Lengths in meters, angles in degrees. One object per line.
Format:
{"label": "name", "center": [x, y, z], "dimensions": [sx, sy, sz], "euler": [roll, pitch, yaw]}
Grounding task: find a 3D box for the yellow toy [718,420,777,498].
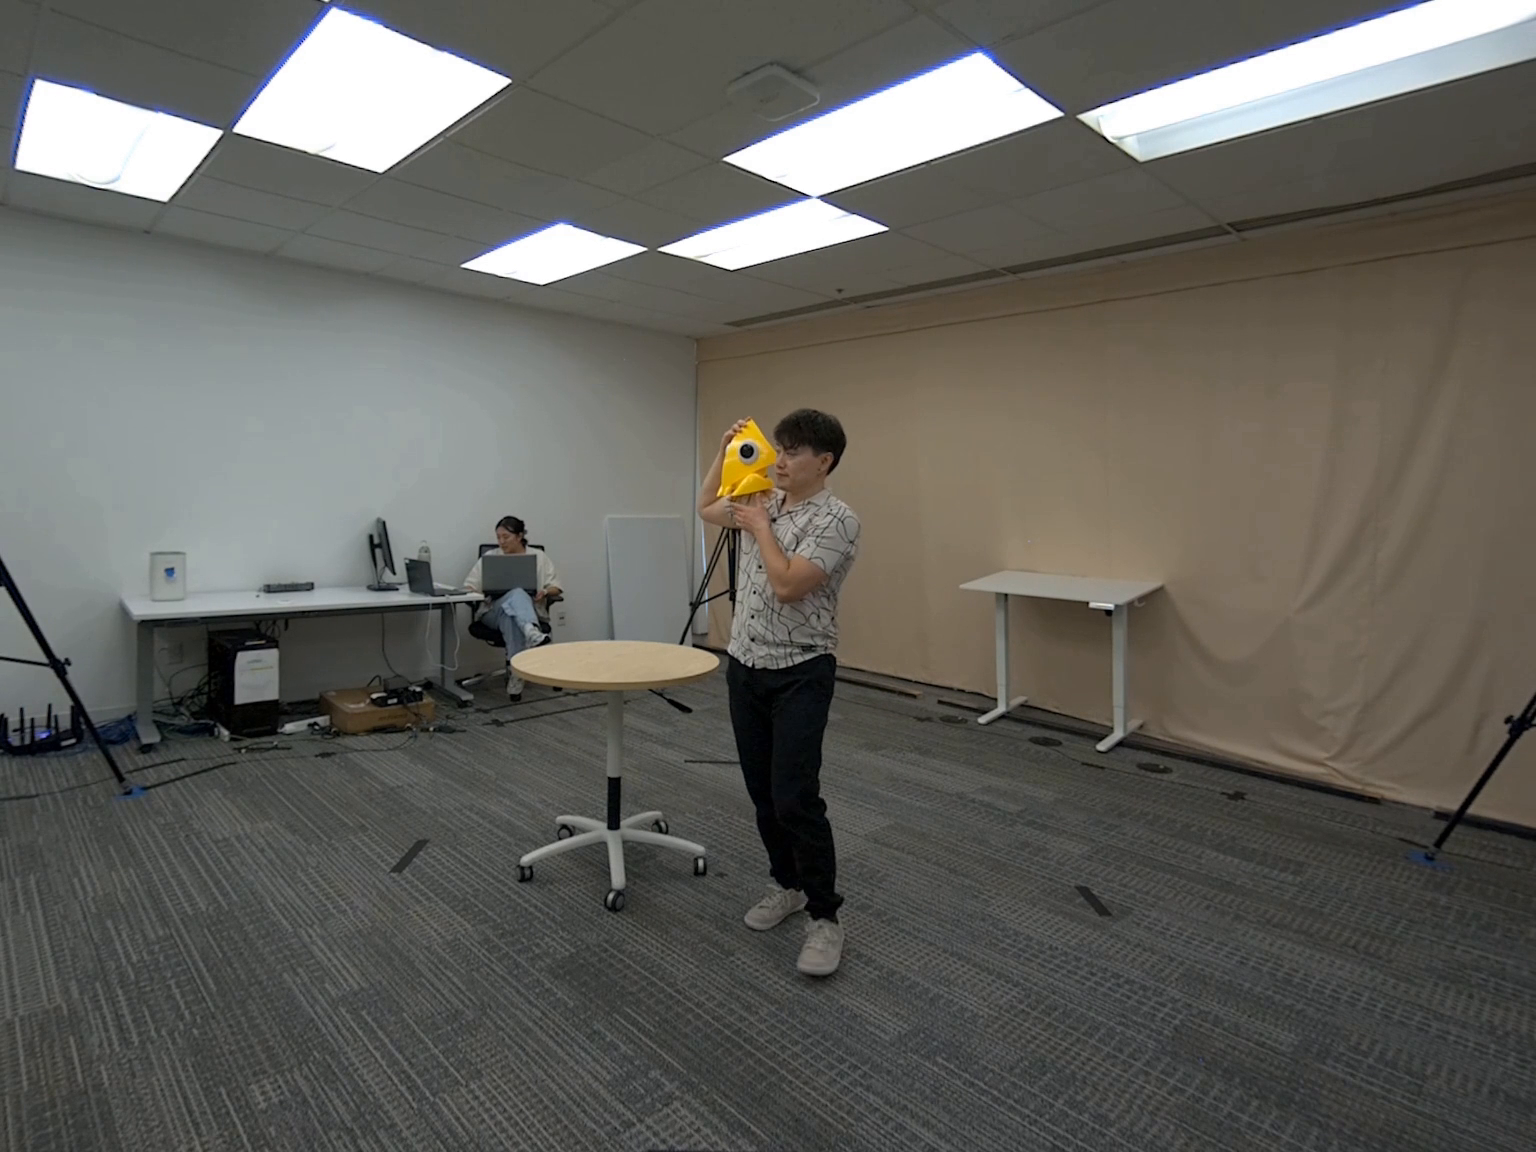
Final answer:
{"label": "yellow toy", "center": [-0.087, -0.393, 2.779], "dimensions": [0.190, 0.229, 0.209], "euler": [-15, 9, -25]}
